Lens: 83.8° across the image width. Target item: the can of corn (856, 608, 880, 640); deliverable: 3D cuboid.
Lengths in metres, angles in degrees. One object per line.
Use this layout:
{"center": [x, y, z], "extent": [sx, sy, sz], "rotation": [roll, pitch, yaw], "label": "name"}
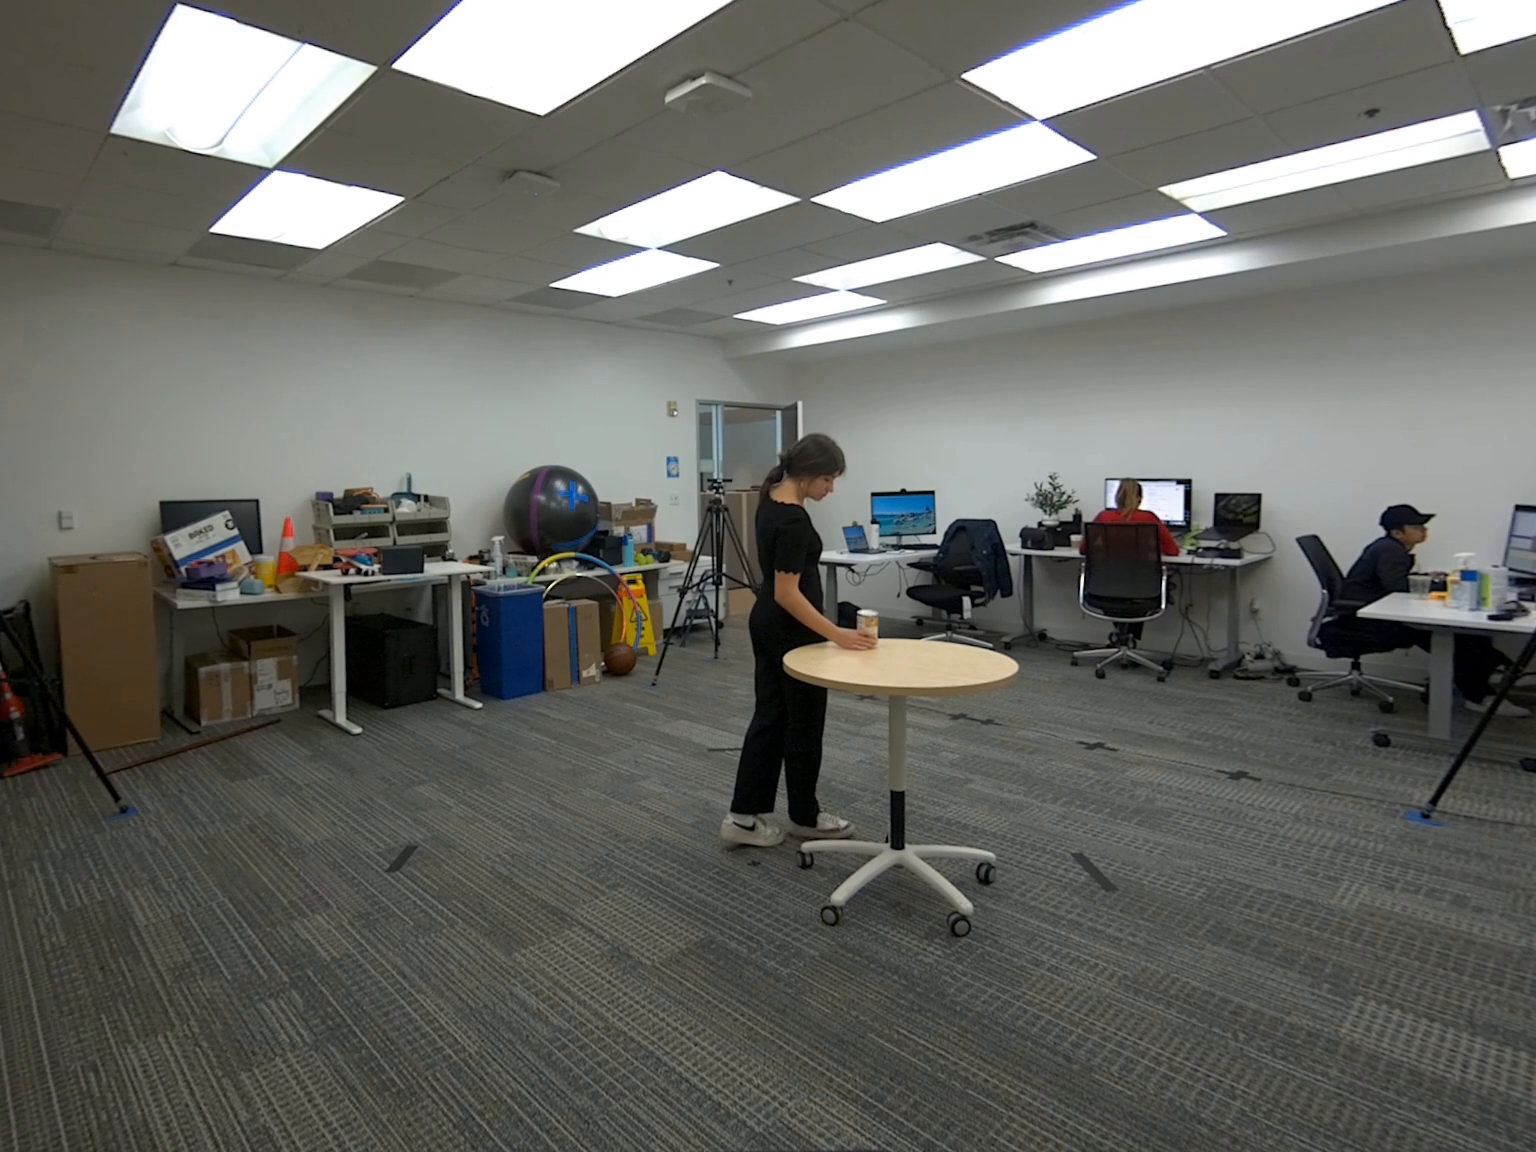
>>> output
{"center": [0.348, 0.185, 3.064], "extent": [0.074, 0.110, 0.075], "rotation": [0, 14, -2], "label": "can of corn"}
